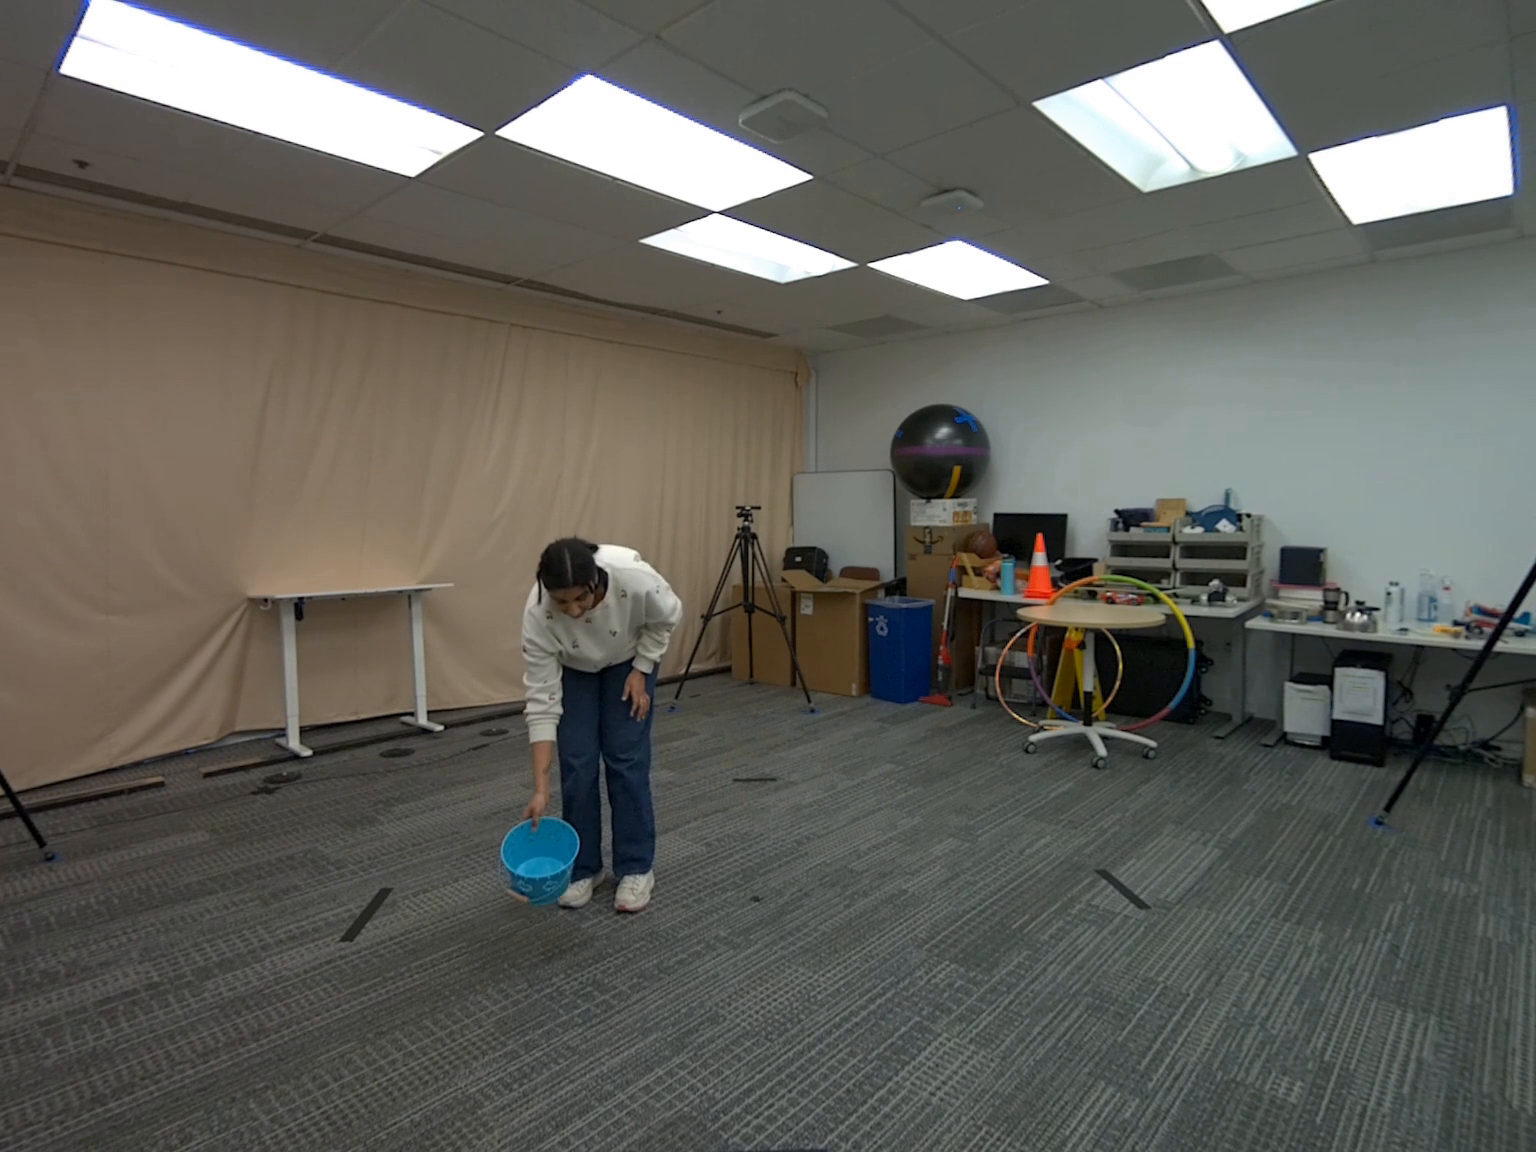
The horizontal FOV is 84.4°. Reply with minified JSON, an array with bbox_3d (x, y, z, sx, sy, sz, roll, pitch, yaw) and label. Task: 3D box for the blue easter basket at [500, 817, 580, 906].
[{"bbox_3d":[-0.704,0.871,2.568,0.243,0.154,0.247,4,28,-4],"label":"blue easter basket"}]
